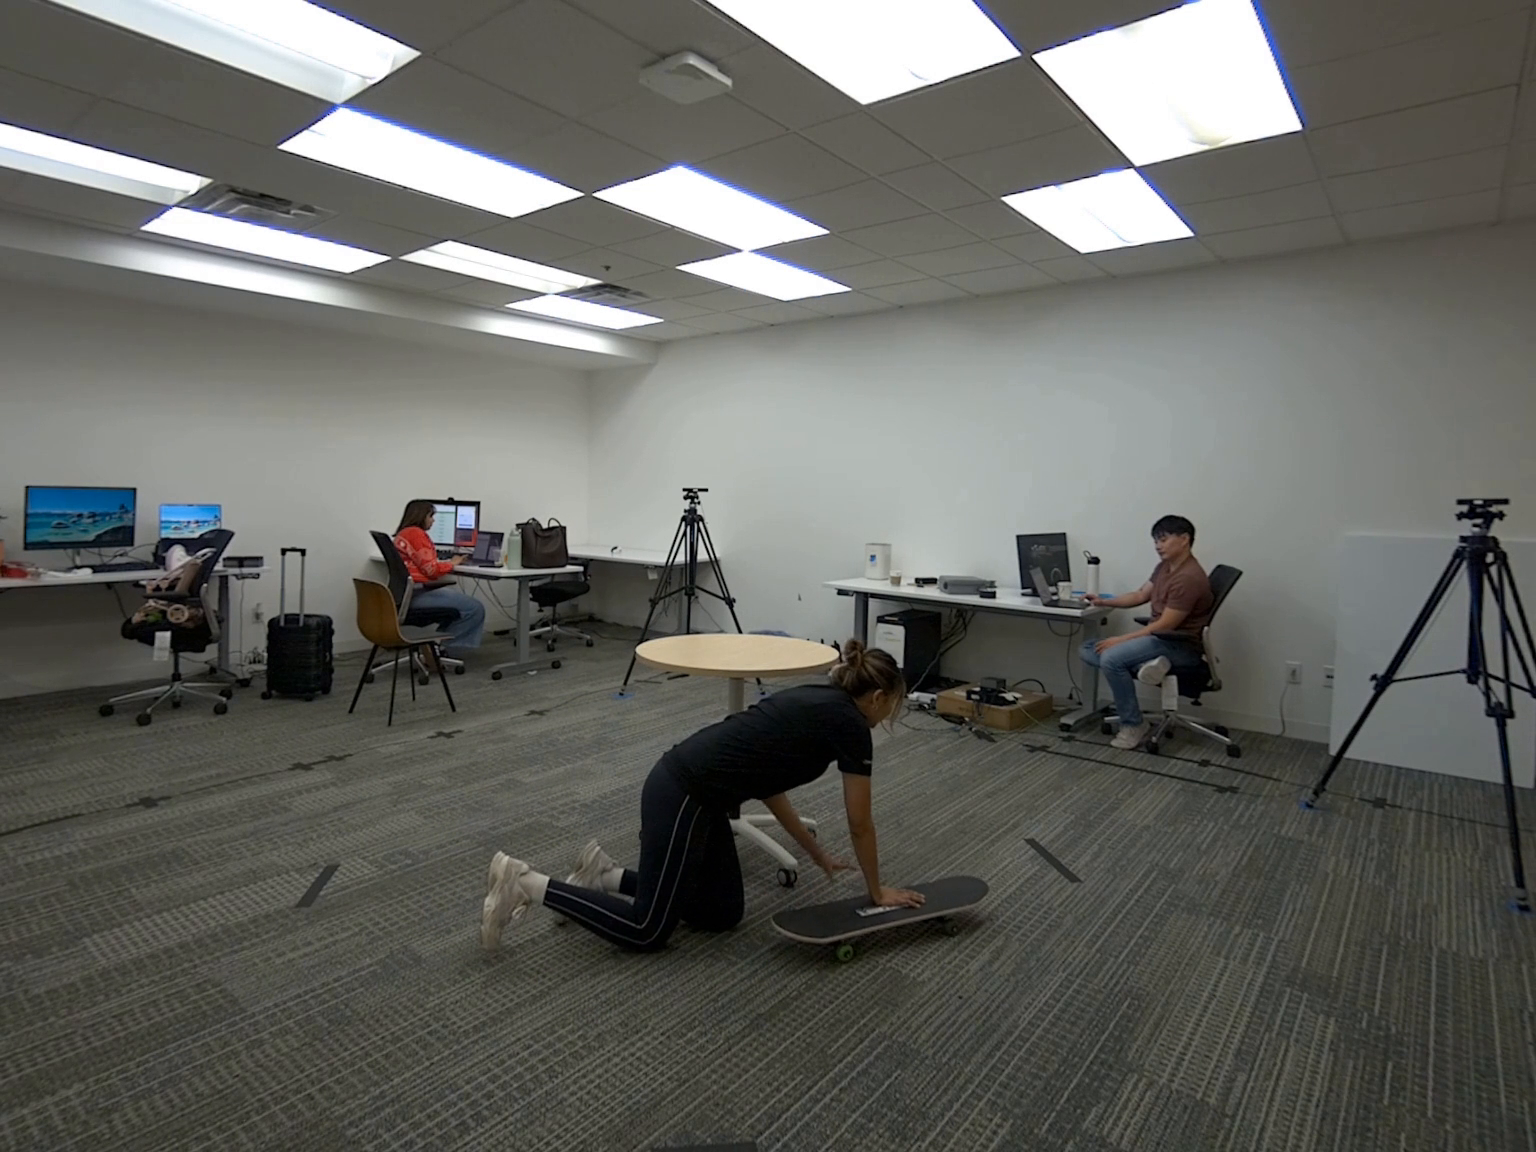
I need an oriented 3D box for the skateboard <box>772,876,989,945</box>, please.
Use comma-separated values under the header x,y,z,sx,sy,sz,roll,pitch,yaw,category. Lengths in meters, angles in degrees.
x,y,z,sx,sy,sz,roll,pitch,yaw,category
0.366,1.073,2.671,0.767,0.110,0.199,-1,5,-25,skateboard
